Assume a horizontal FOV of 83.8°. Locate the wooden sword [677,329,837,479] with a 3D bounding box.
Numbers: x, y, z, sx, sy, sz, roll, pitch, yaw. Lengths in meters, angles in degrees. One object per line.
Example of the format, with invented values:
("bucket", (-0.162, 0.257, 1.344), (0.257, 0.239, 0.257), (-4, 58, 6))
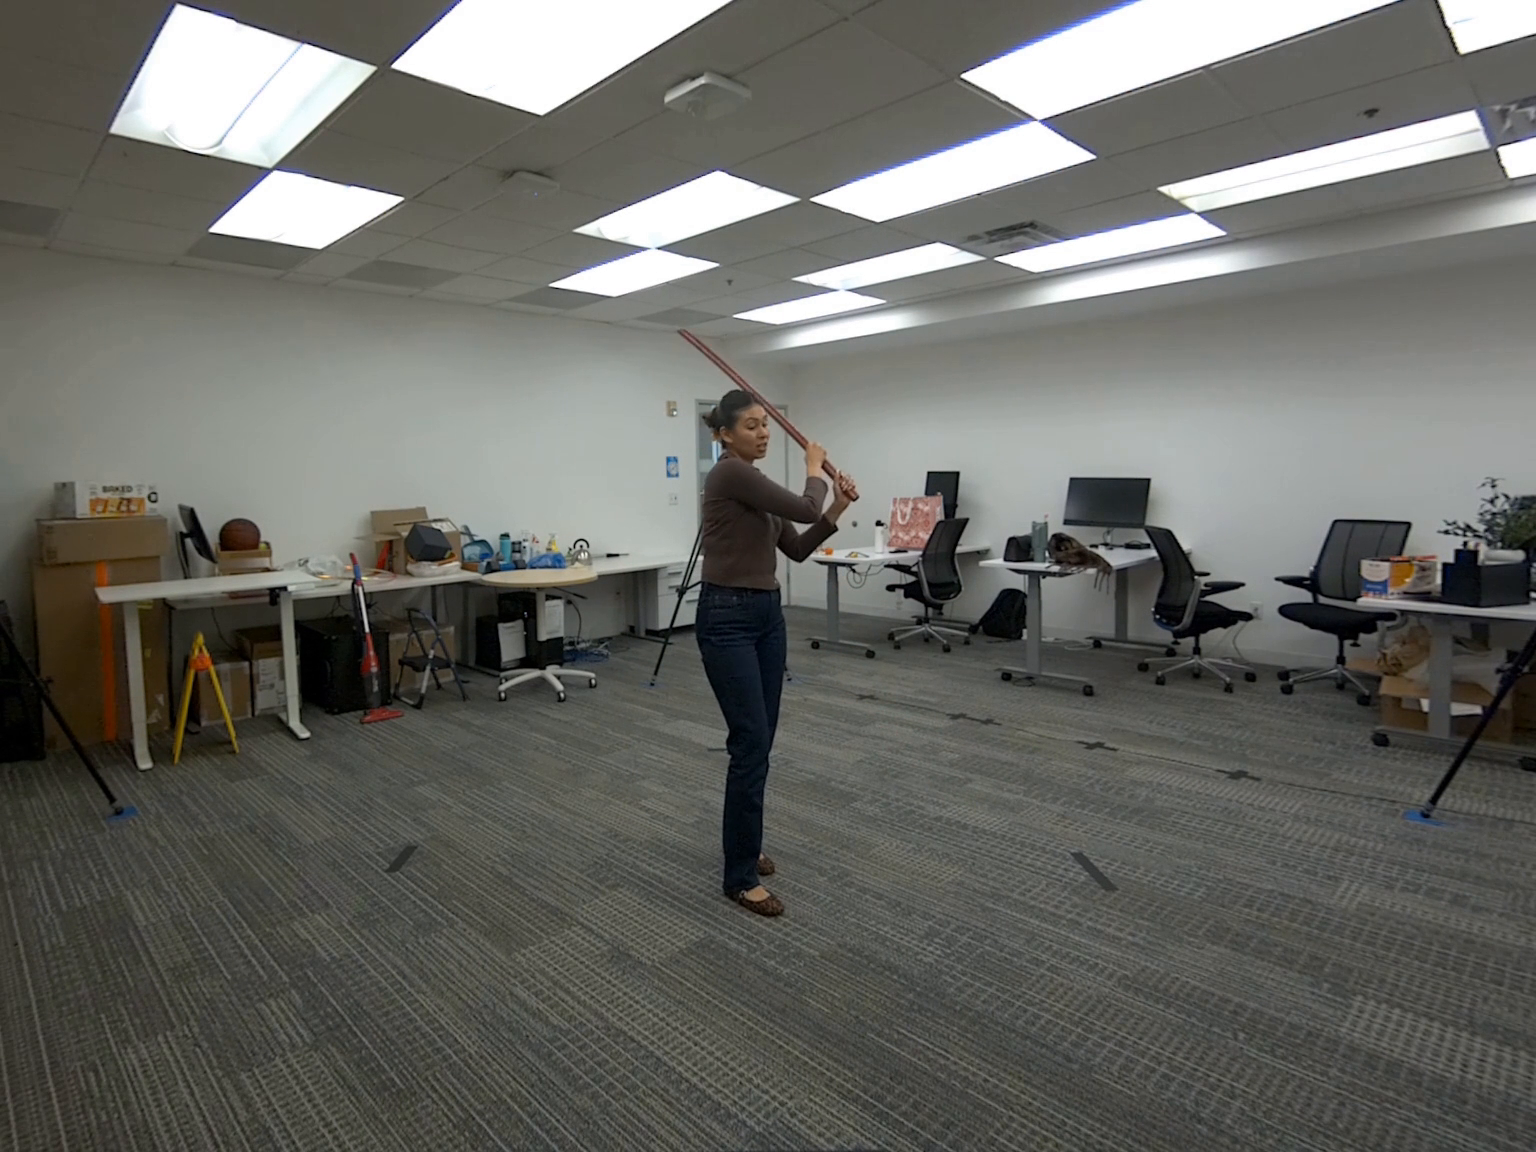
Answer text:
("wooden sword", (0.004, -0.631, 3.237), (0.024, 1.053, 0.050), (-36, -23, -18))
